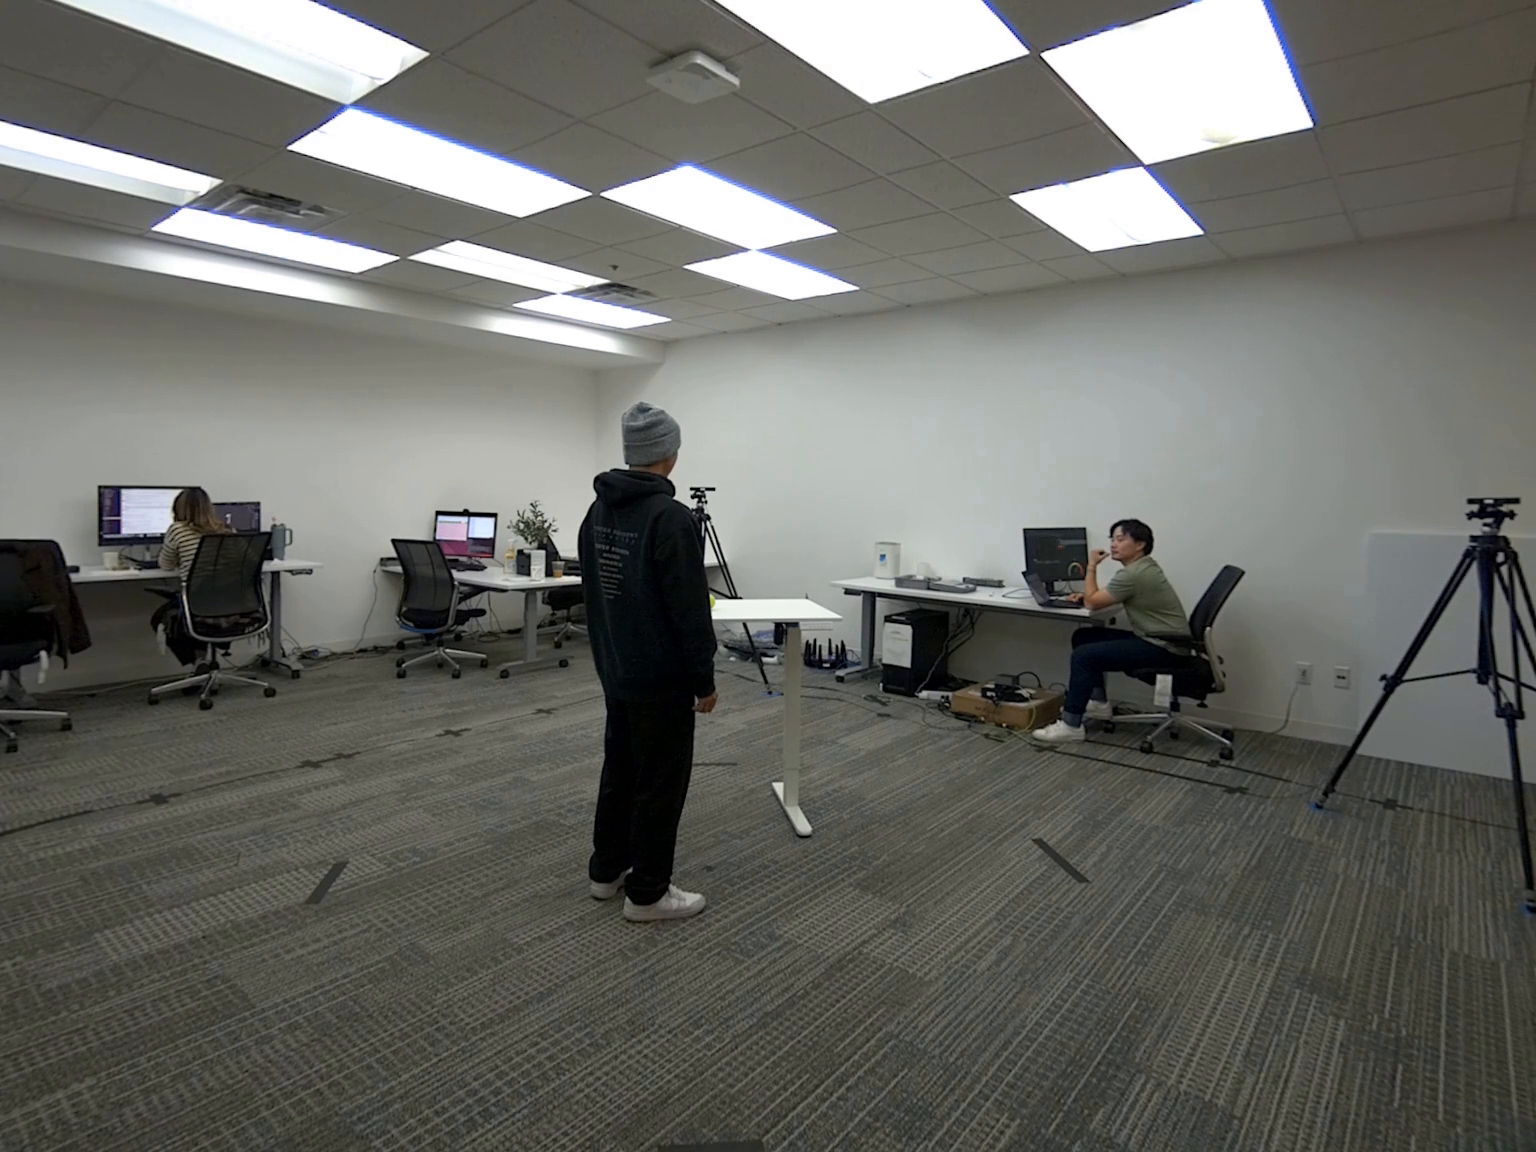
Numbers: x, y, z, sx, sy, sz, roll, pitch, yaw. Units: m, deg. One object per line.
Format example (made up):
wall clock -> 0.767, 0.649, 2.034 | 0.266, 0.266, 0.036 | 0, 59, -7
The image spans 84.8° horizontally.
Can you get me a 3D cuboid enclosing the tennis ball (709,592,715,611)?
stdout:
tennis ball -> -0.264, 0.104, 3.559 | 0.066, 0.066, 0.067 | 1, 4, -2
